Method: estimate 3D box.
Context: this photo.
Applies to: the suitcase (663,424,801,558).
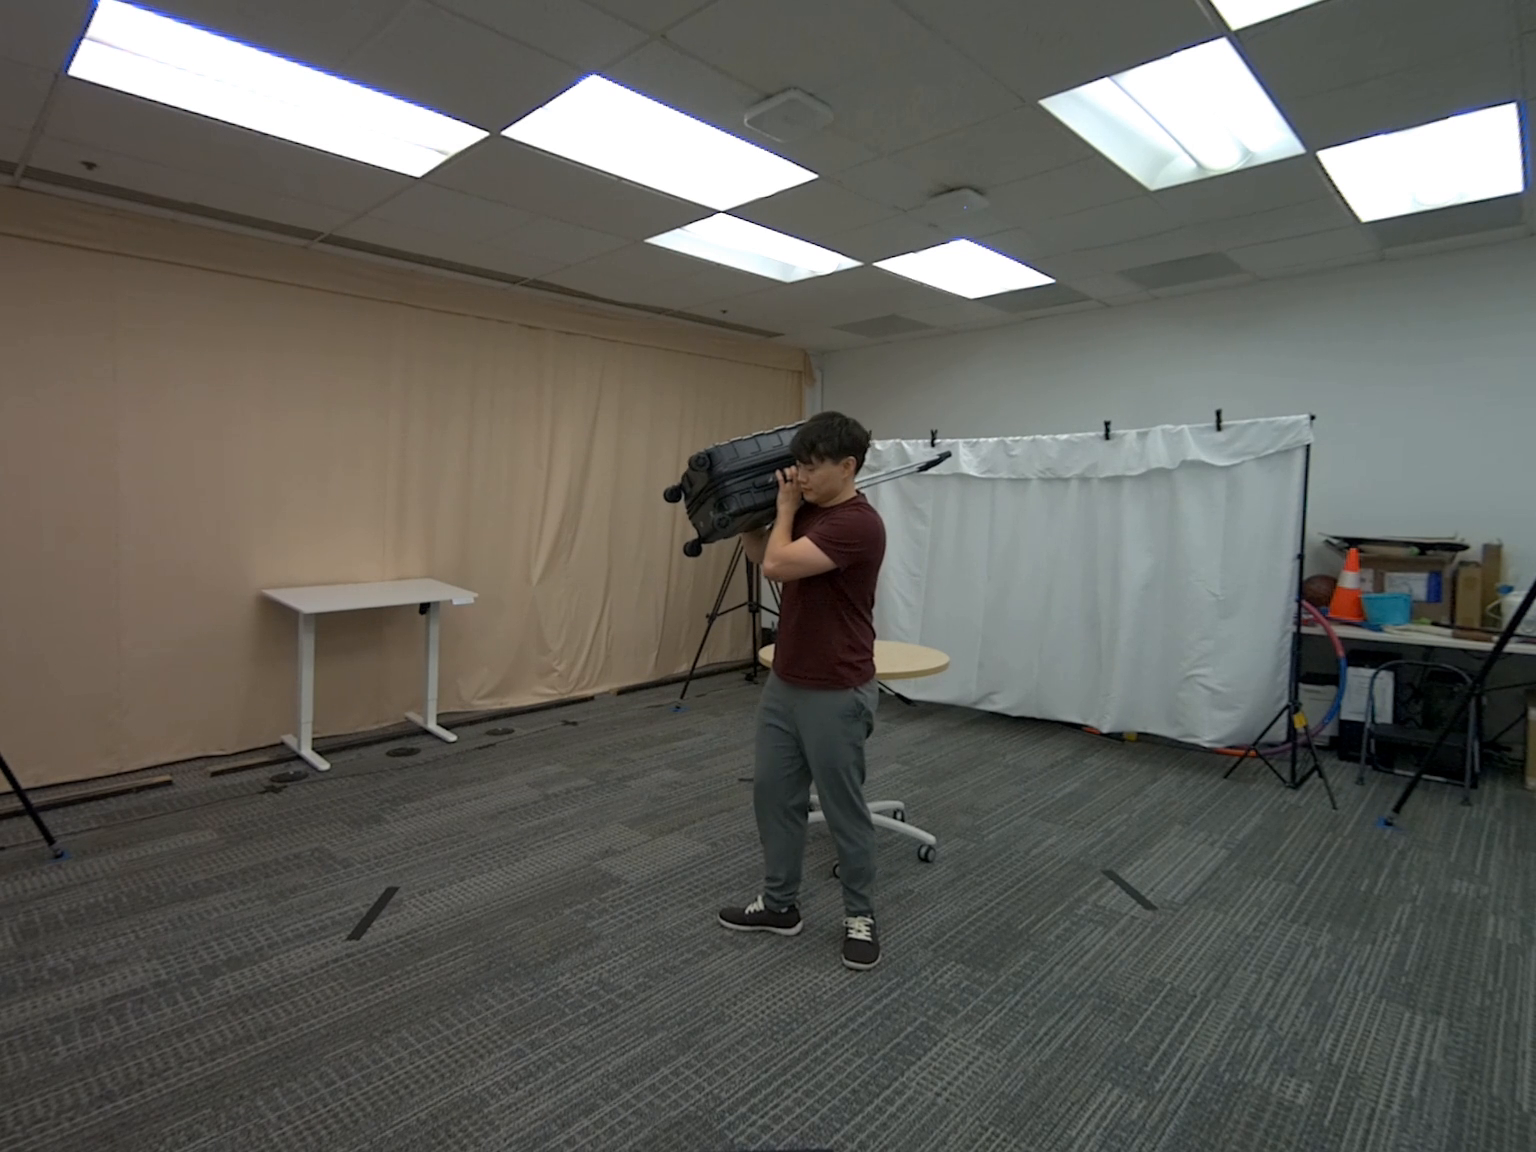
[{"bbox_3d":[0.150,-0.371,2.849,0.961,0.259,0.388,-20,-7,-25],"label":"suitcase"}]
